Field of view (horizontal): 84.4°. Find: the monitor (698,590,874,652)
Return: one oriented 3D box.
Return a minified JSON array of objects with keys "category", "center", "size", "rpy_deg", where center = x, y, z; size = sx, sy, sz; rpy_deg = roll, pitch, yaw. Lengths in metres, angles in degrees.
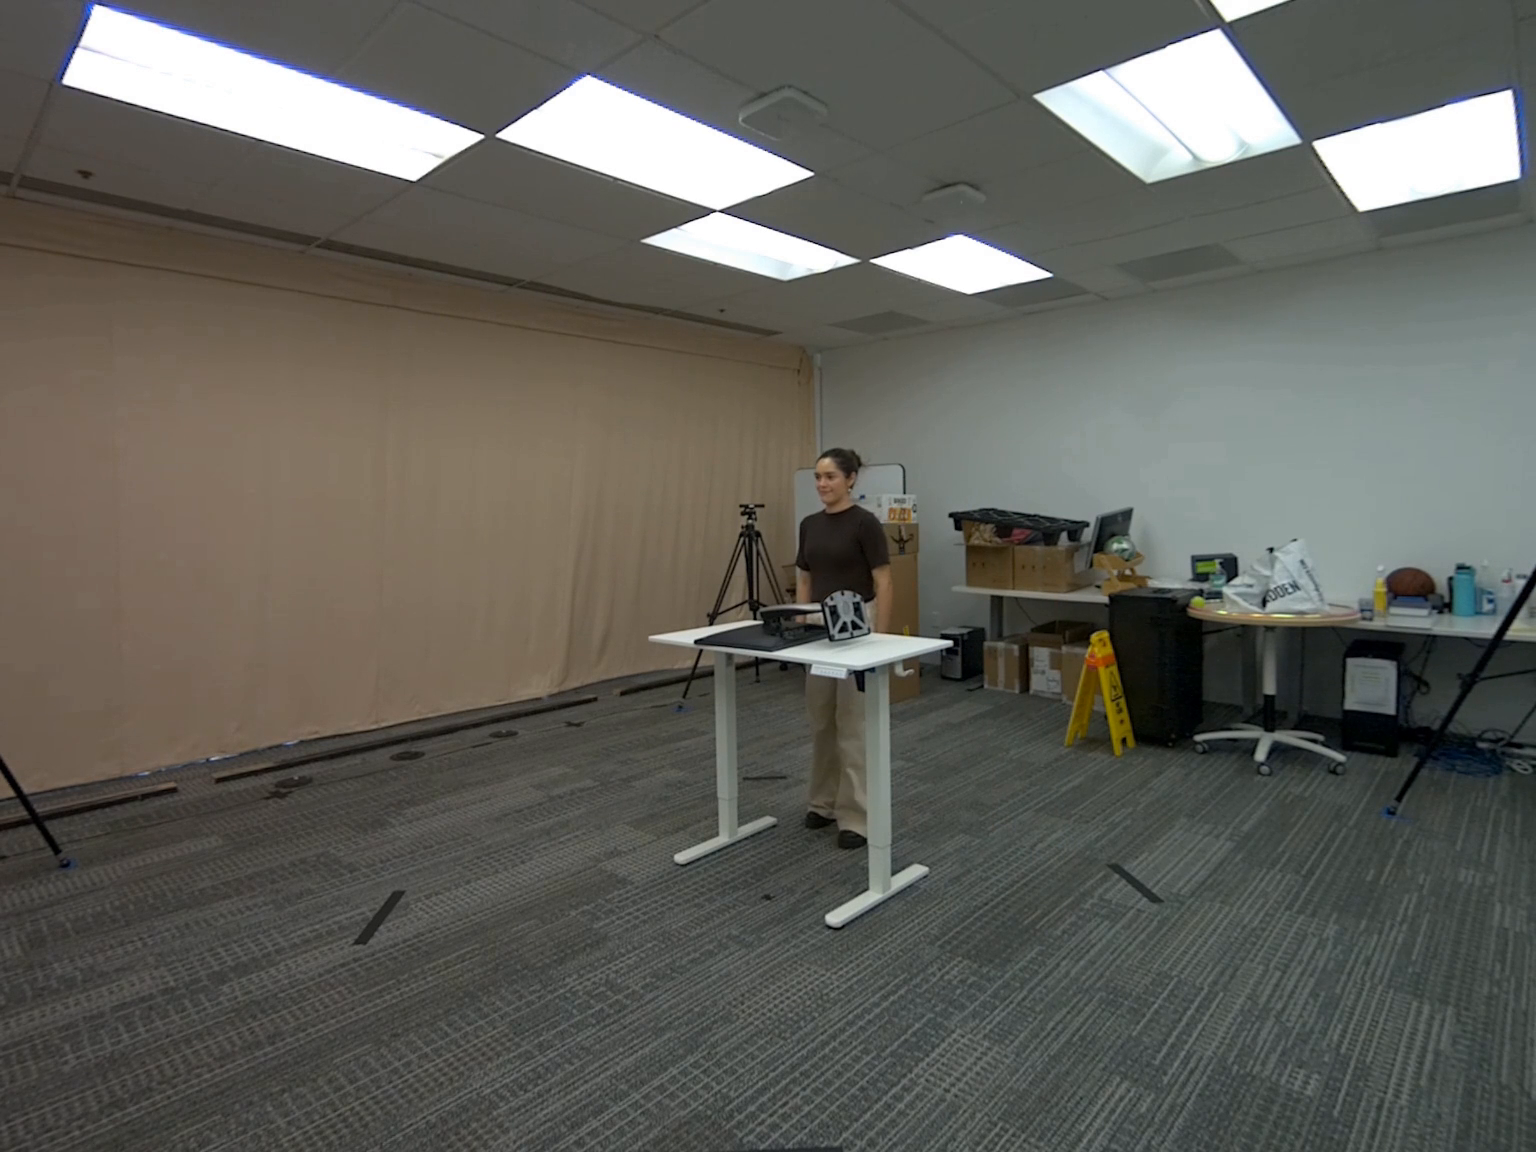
[{"category":"monitor","center":[0.087,0.188,3.154],"size":[0.536,0.188,0.522],"rpy_deg":[-14,-7,38]}]
